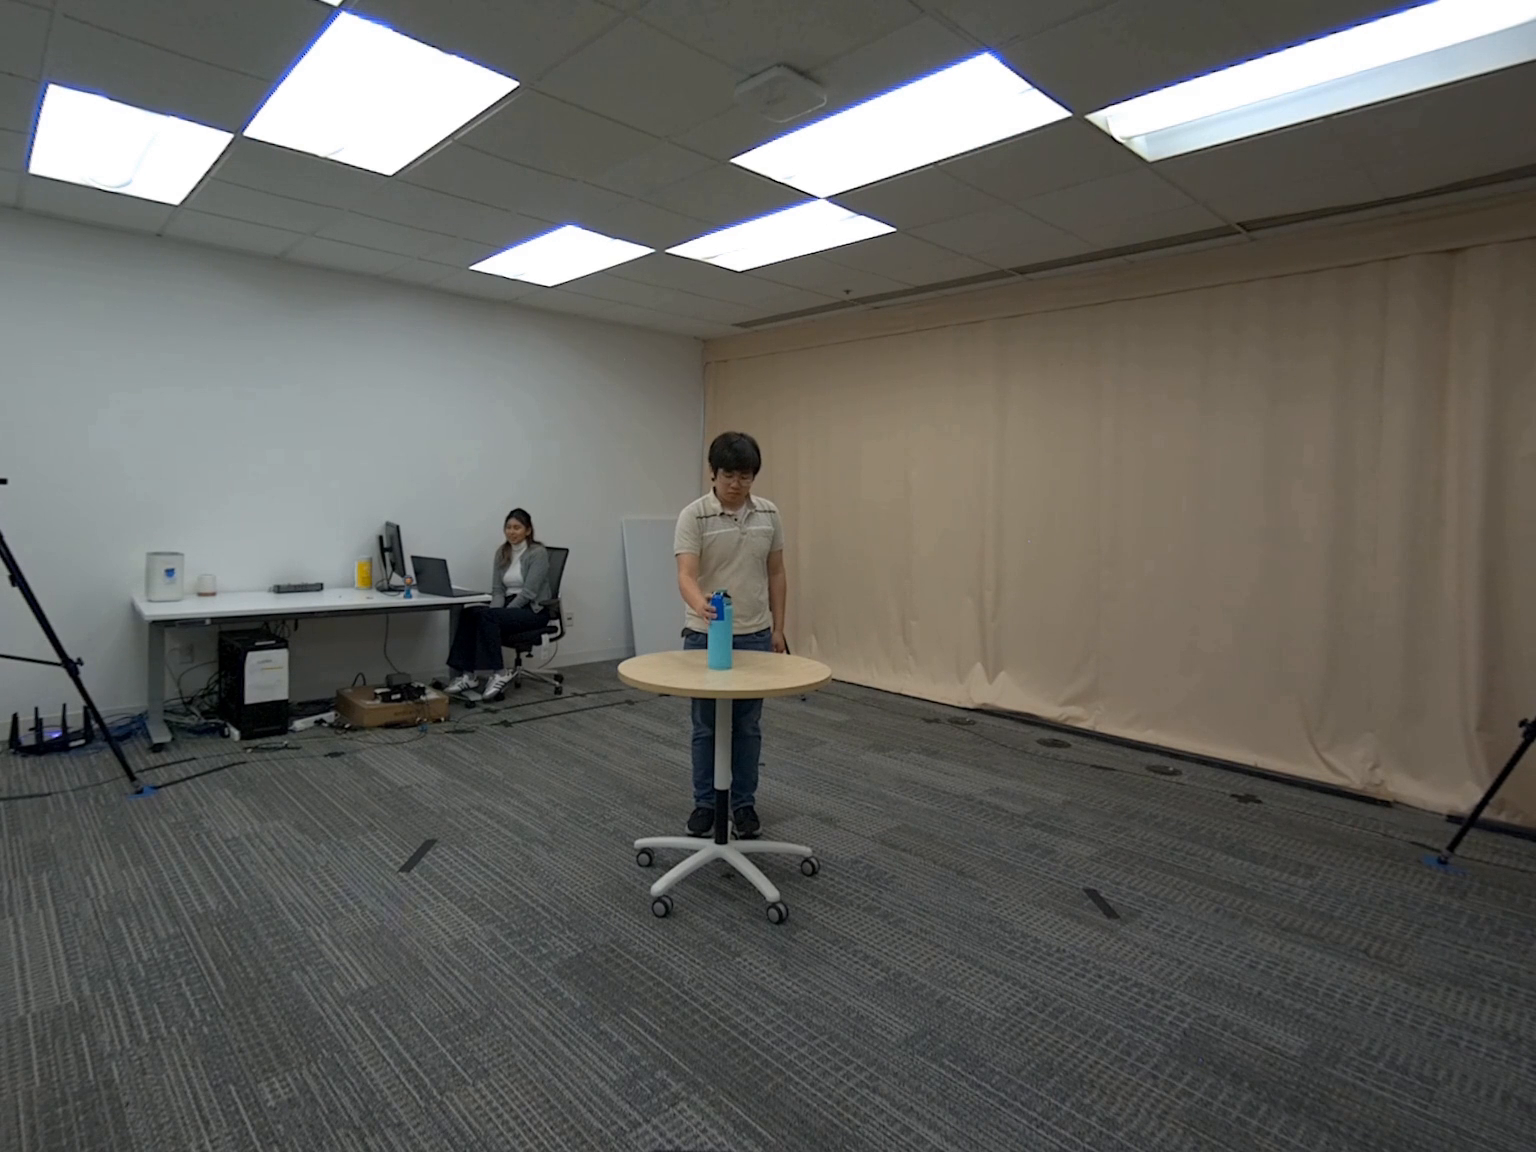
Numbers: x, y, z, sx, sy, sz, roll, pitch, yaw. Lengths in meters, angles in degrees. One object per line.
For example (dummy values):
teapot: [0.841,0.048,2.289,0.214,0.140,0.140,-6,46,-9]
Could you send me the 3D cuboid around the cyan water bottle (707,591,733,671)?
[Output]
cyan water bottle: [-0.179,0.190,3.019,0.092,0.283,0.092,2,3,-1]
